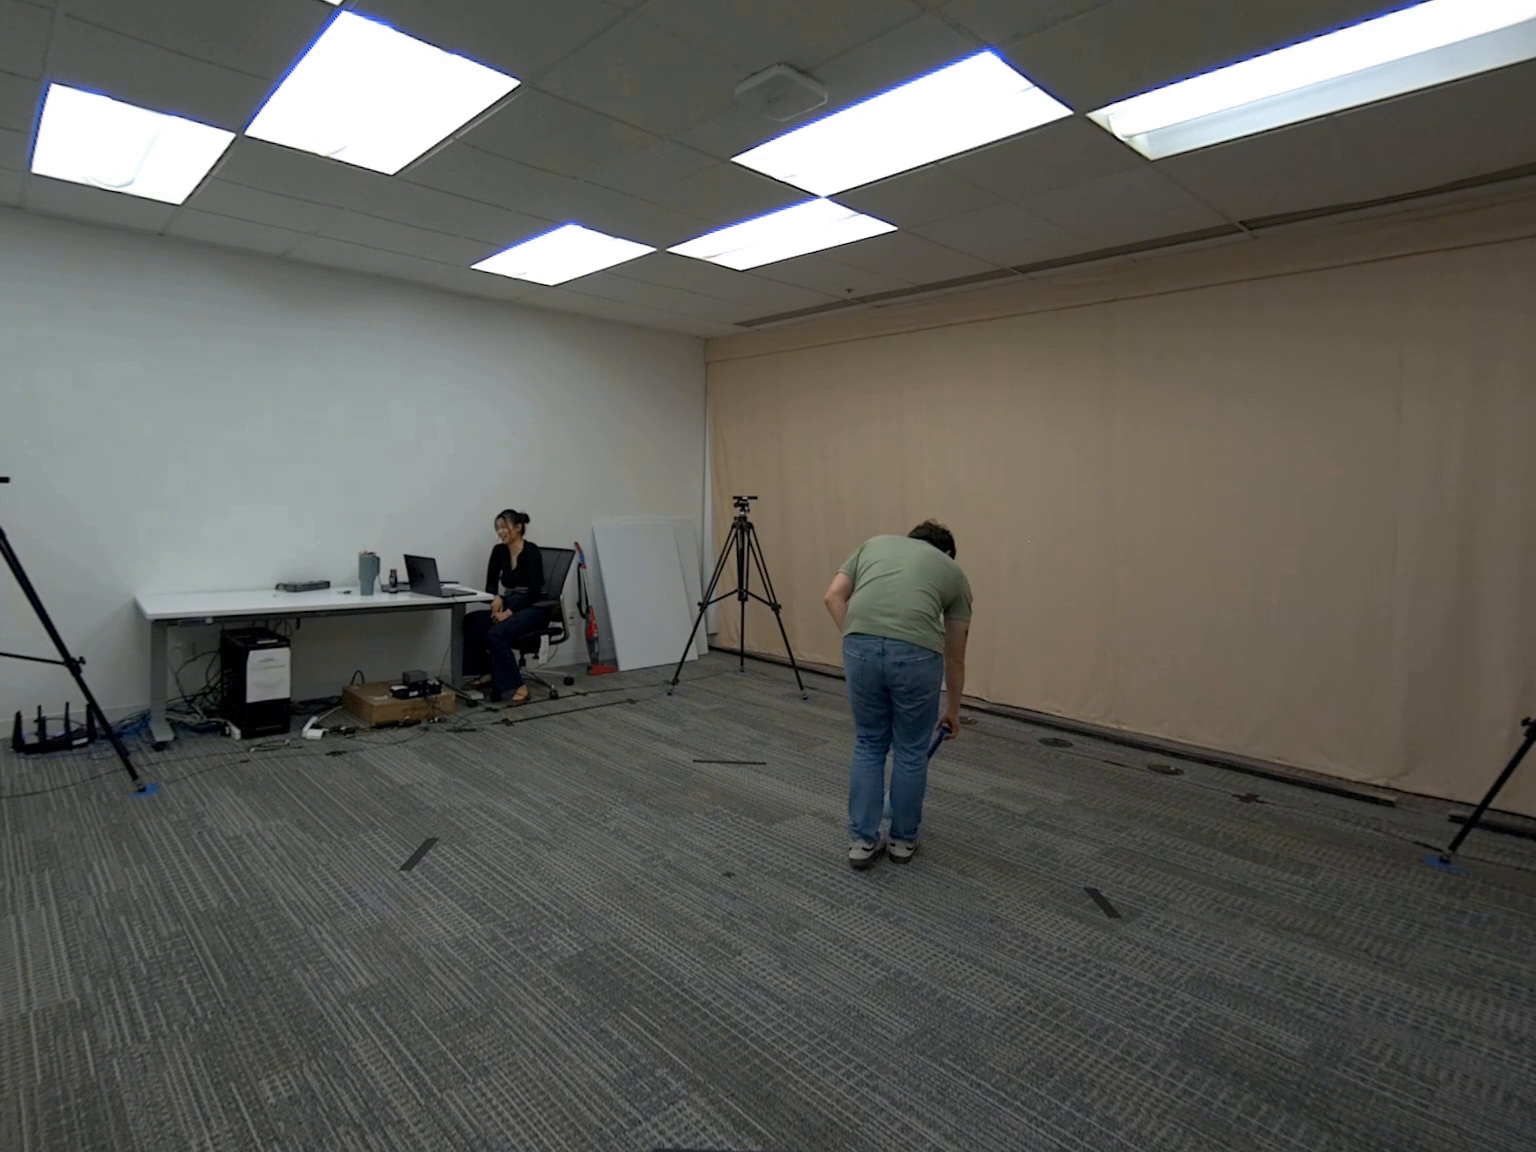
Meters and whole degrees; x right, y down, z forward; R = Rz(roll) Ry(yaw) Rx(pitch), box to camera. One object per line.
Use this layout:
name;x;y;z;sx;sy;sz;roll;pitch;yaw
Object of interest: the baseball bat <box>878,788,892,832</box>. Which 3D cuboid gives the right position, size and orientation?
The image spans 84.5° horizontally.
baseball bat;0.623;0.847;3.611;0.088;0.538;0.091;19;33;-14
